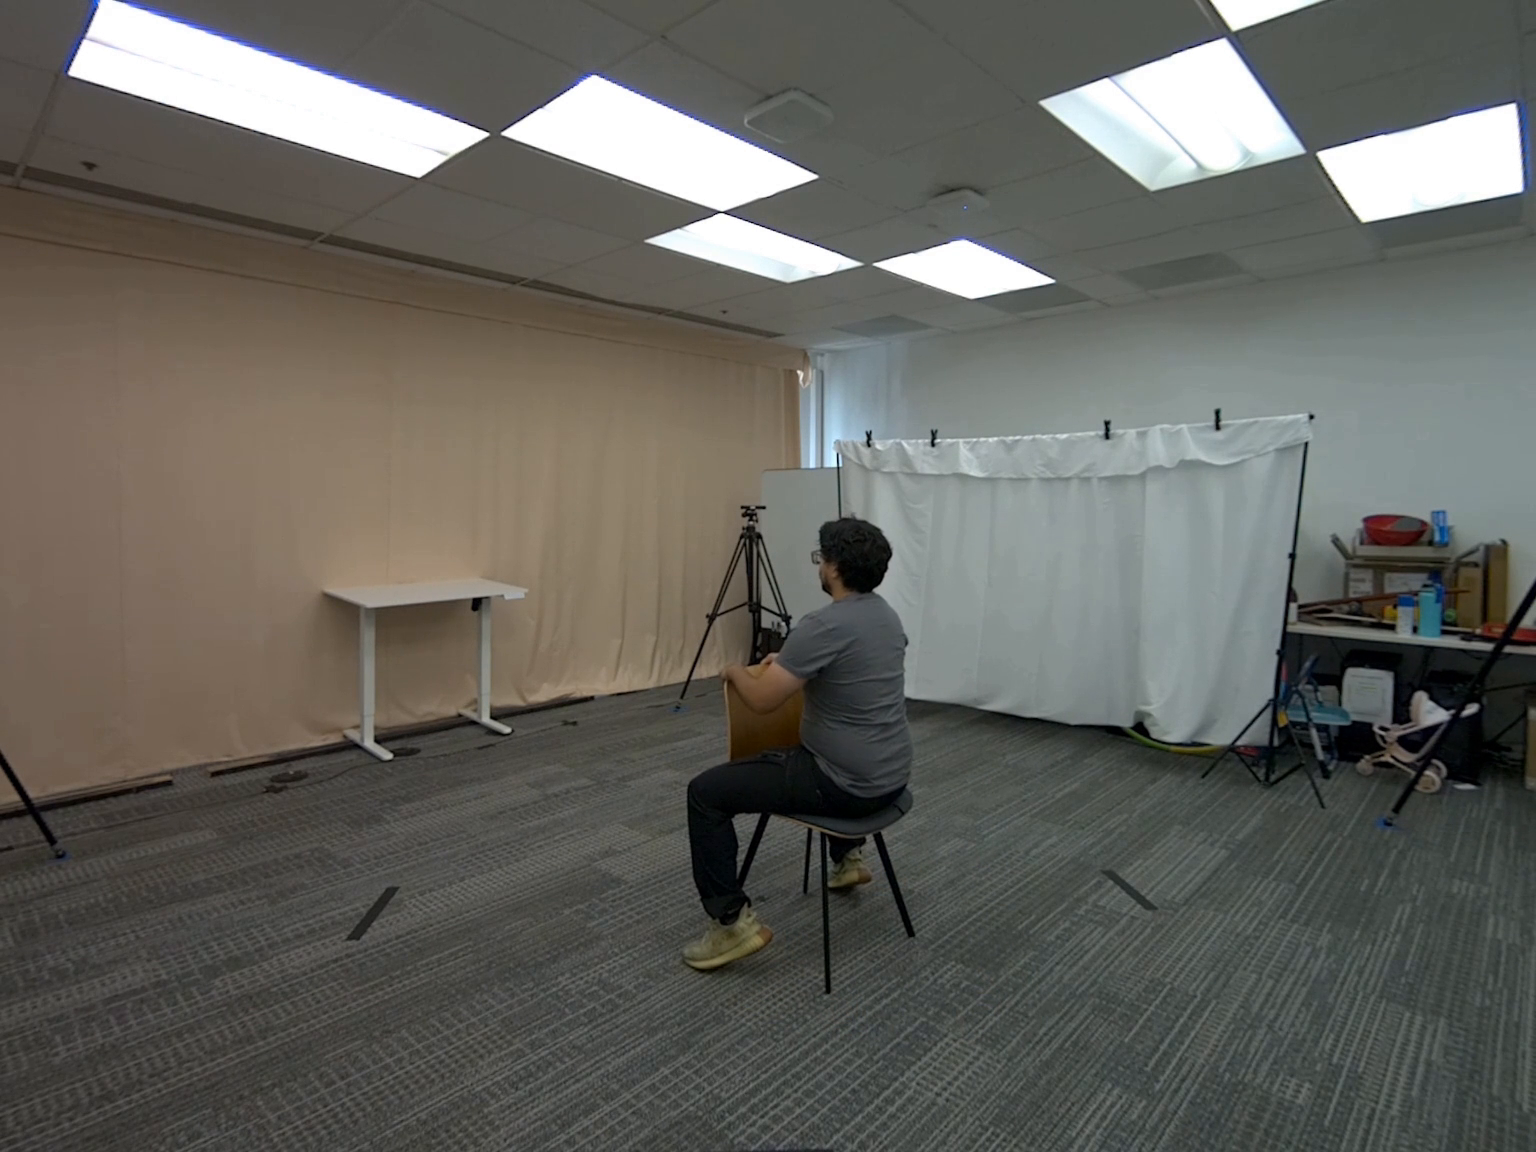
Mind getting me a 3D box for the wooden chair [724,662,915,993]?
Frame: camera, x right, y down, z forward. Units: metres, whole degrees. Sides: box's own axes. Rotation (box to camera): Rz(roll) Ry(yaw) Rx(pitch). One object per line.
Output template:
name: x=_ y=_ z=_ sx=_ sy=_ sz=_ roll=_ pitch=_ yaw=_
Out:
wooden chair: x=0.165 y=0.742 z=2.683 sx=0.539 sy=0.877 sz=0.463 roll=-3 pitch=0 yaw=44
